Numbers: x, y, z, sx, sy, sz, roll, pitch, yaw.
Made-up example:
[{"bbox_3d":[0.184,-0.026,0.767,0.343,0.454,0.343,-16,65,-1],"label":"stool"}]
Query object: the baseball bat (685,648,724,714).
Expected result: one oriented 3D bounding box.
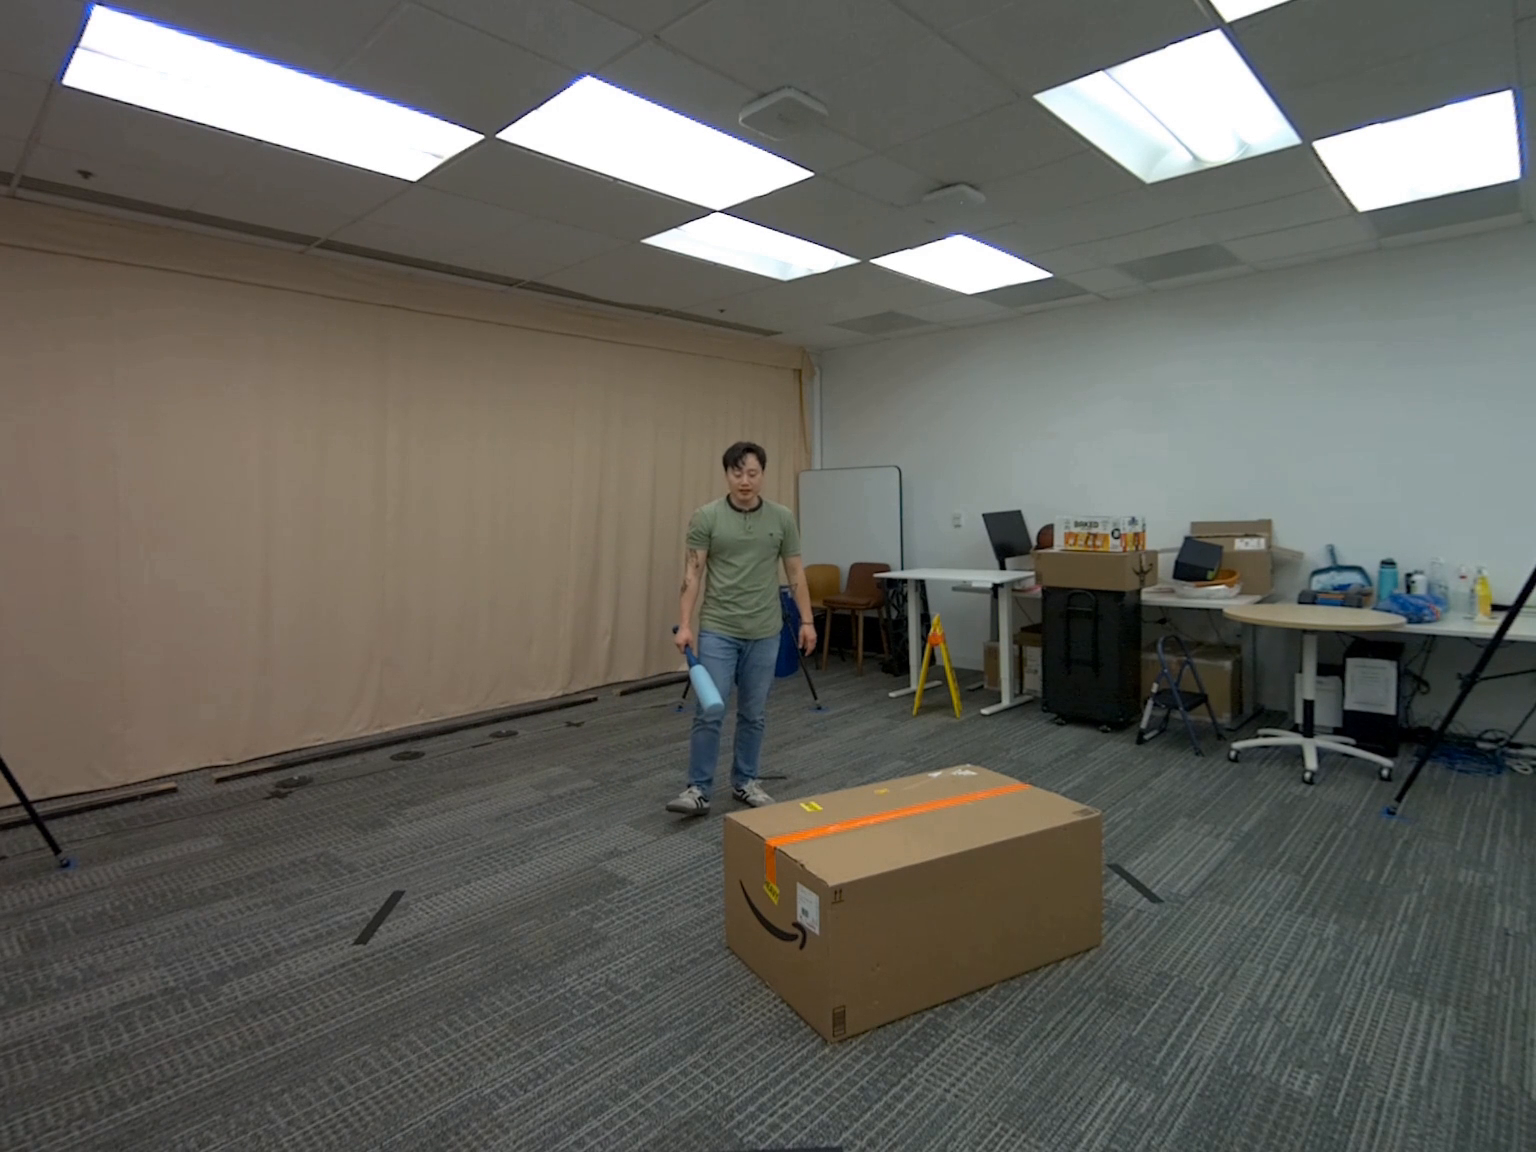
[{"bbox_3d":[-0.313,0.395,3.655,0.087,0.088,0.560,-3,34,-22],"label":"baseball bat"}]
